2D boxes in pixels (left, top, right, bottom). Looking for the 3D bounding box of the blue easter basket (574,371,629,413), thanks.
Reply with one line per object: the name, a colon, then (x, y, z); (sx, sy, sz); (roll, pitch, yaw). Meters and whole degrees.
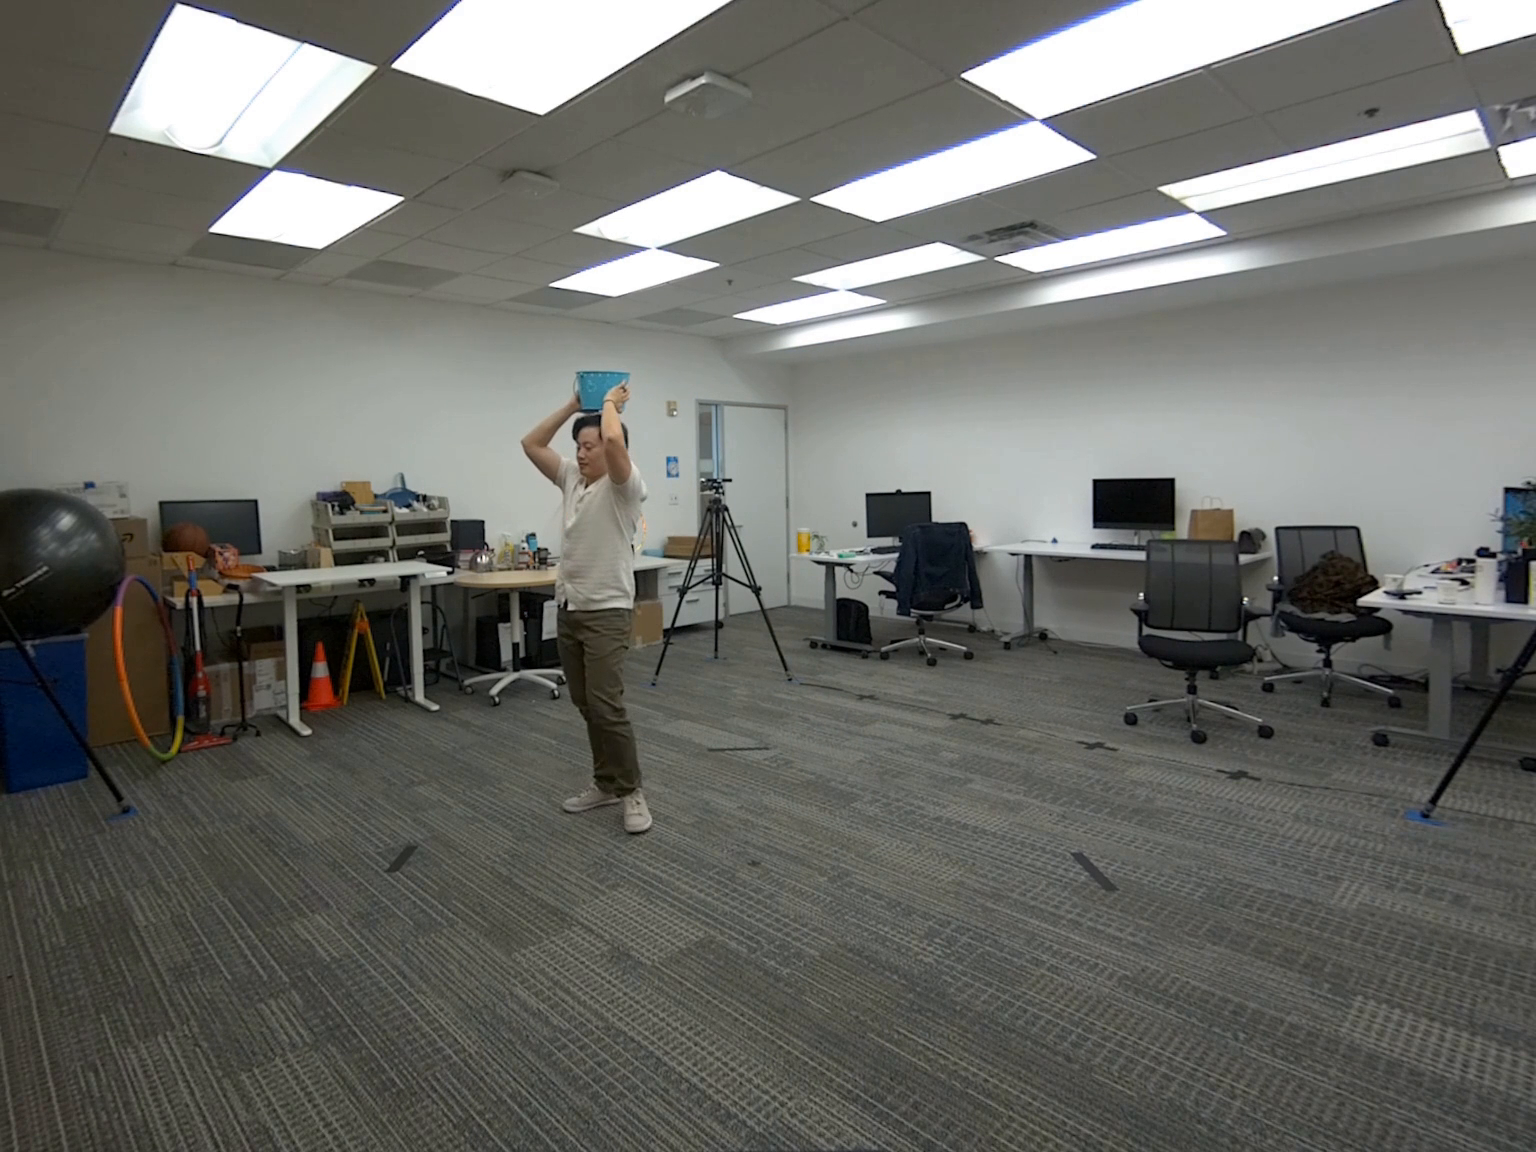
blue easter basket: (-0.704, -0.782, 3.595); (0.243, 0.155, 0.245); (1, 9, -2)
